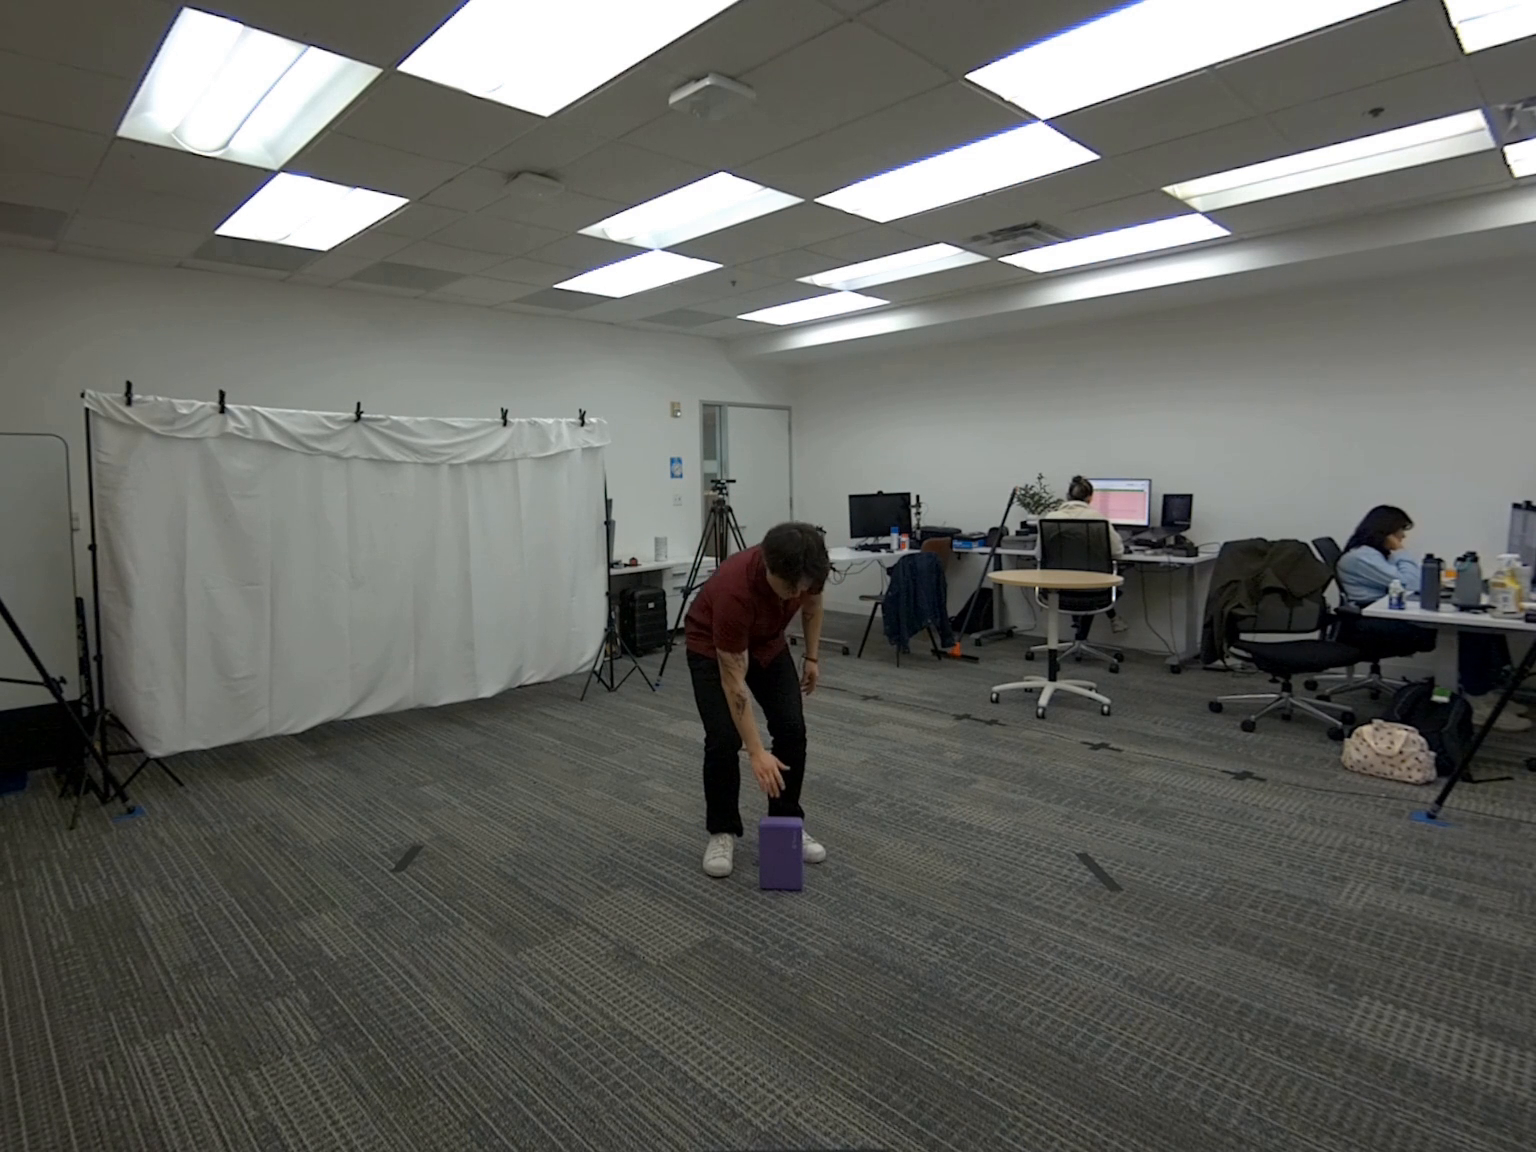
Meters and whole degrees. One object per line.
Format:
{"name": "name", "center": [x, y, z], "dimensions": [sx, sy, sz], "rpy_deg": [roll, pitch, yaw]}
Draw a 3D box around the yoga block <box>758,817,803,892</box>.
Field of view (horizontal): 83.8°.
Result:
{"name": "yoga block", "center": [0.046, 0.957, 2.923], "dimensions": [0.150, 0.228, 0.076], "rpy_deg": [-1, 4, 5]}
